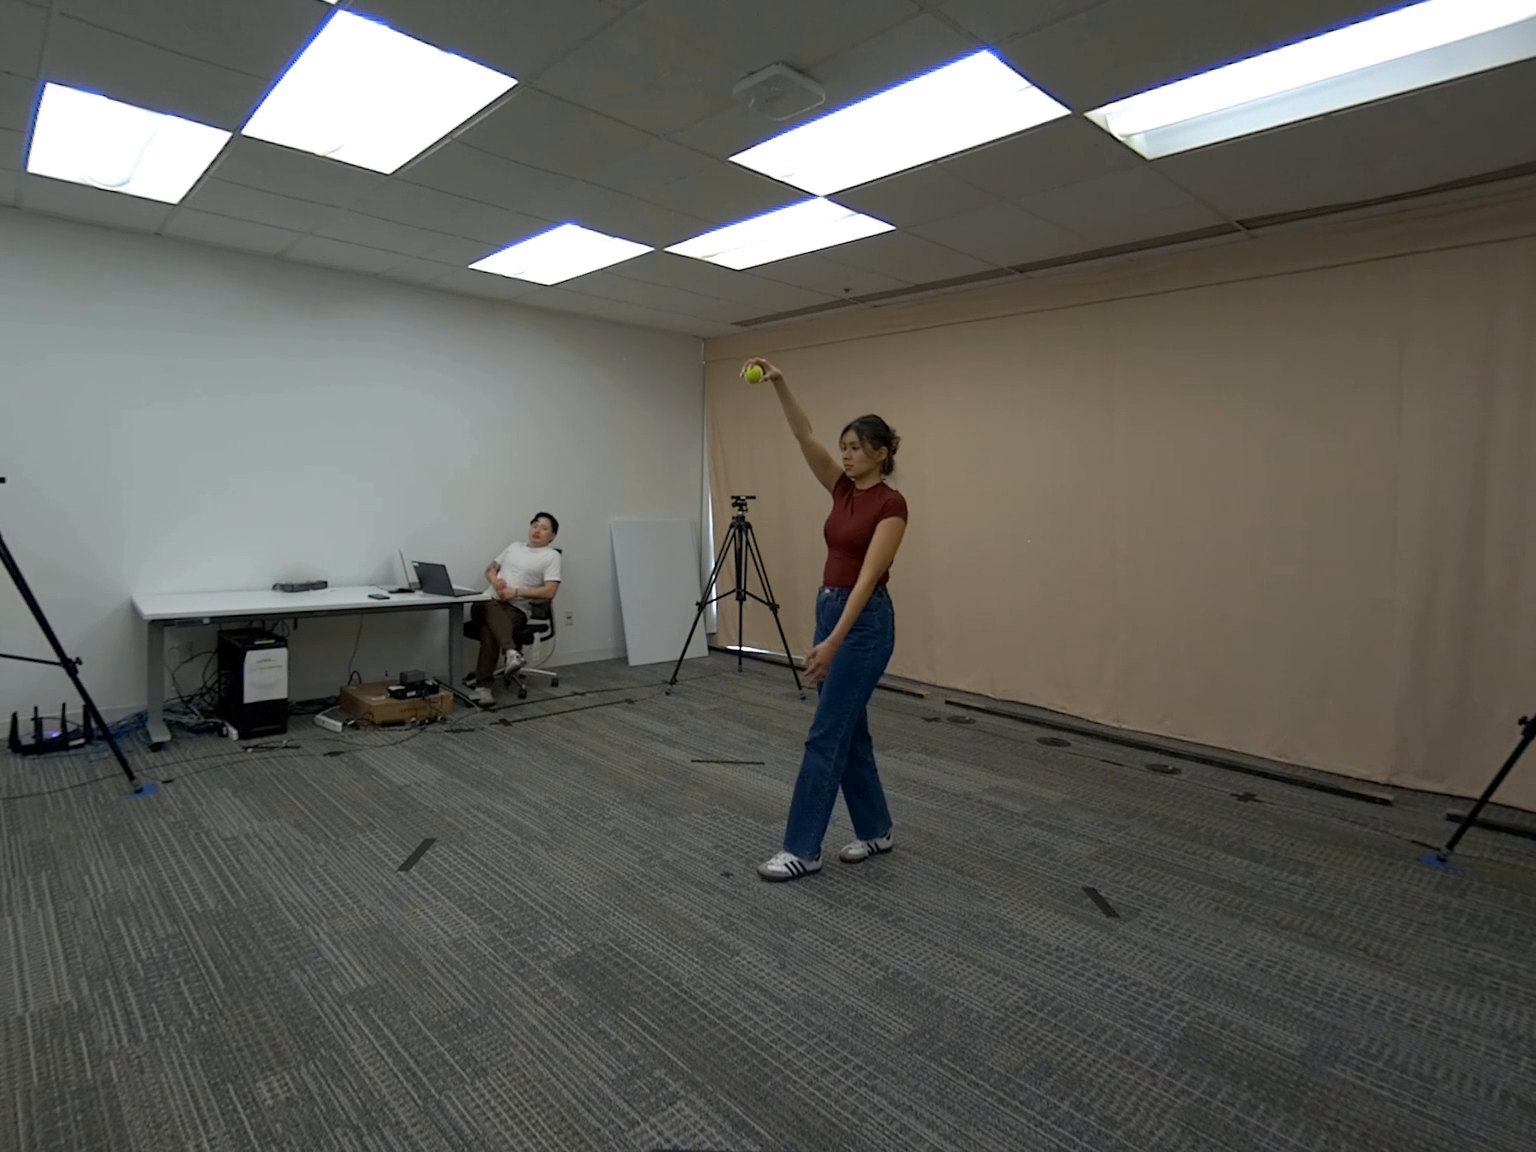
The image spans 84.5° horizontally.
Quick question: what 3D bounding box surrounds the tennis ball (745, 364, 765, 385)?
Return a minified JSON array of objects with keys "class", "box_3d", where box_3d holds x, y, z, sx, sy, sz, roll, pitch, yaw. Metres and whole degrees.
[{"class":"tennis ball","box_3d":[-0.015,-0.739,3.017,0.066,0.066,0.067,1,4,-1]}]
